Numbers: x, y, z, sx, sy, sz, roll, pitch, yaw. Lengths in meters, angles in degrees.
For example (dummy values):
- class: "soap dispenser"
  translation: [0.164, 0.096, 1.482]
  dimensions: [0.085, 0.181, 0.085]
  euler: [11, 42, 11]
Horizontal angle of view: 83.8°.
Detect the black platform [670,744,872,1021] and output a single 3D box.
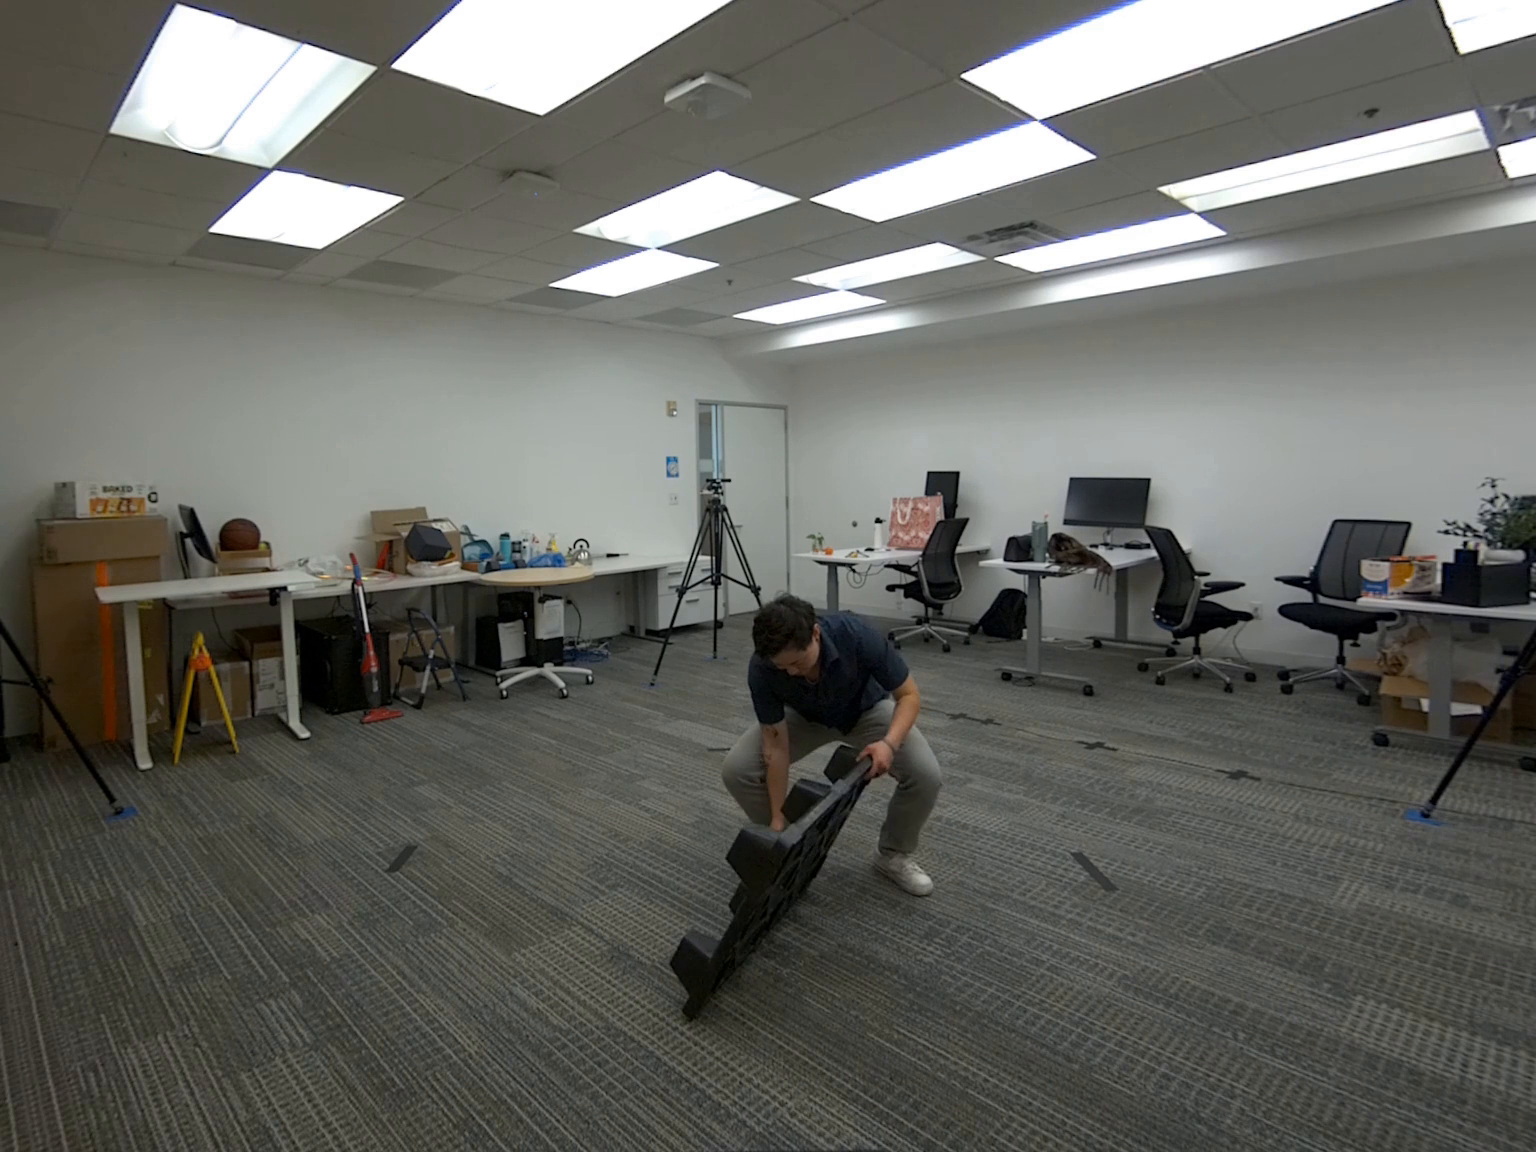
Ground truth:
- class: "black platform"
  translation: [0.045, 0.824, 2.476]
  dimensions: [0.147, 0.601, 0.791]
  euler: [32, 18, 18]
